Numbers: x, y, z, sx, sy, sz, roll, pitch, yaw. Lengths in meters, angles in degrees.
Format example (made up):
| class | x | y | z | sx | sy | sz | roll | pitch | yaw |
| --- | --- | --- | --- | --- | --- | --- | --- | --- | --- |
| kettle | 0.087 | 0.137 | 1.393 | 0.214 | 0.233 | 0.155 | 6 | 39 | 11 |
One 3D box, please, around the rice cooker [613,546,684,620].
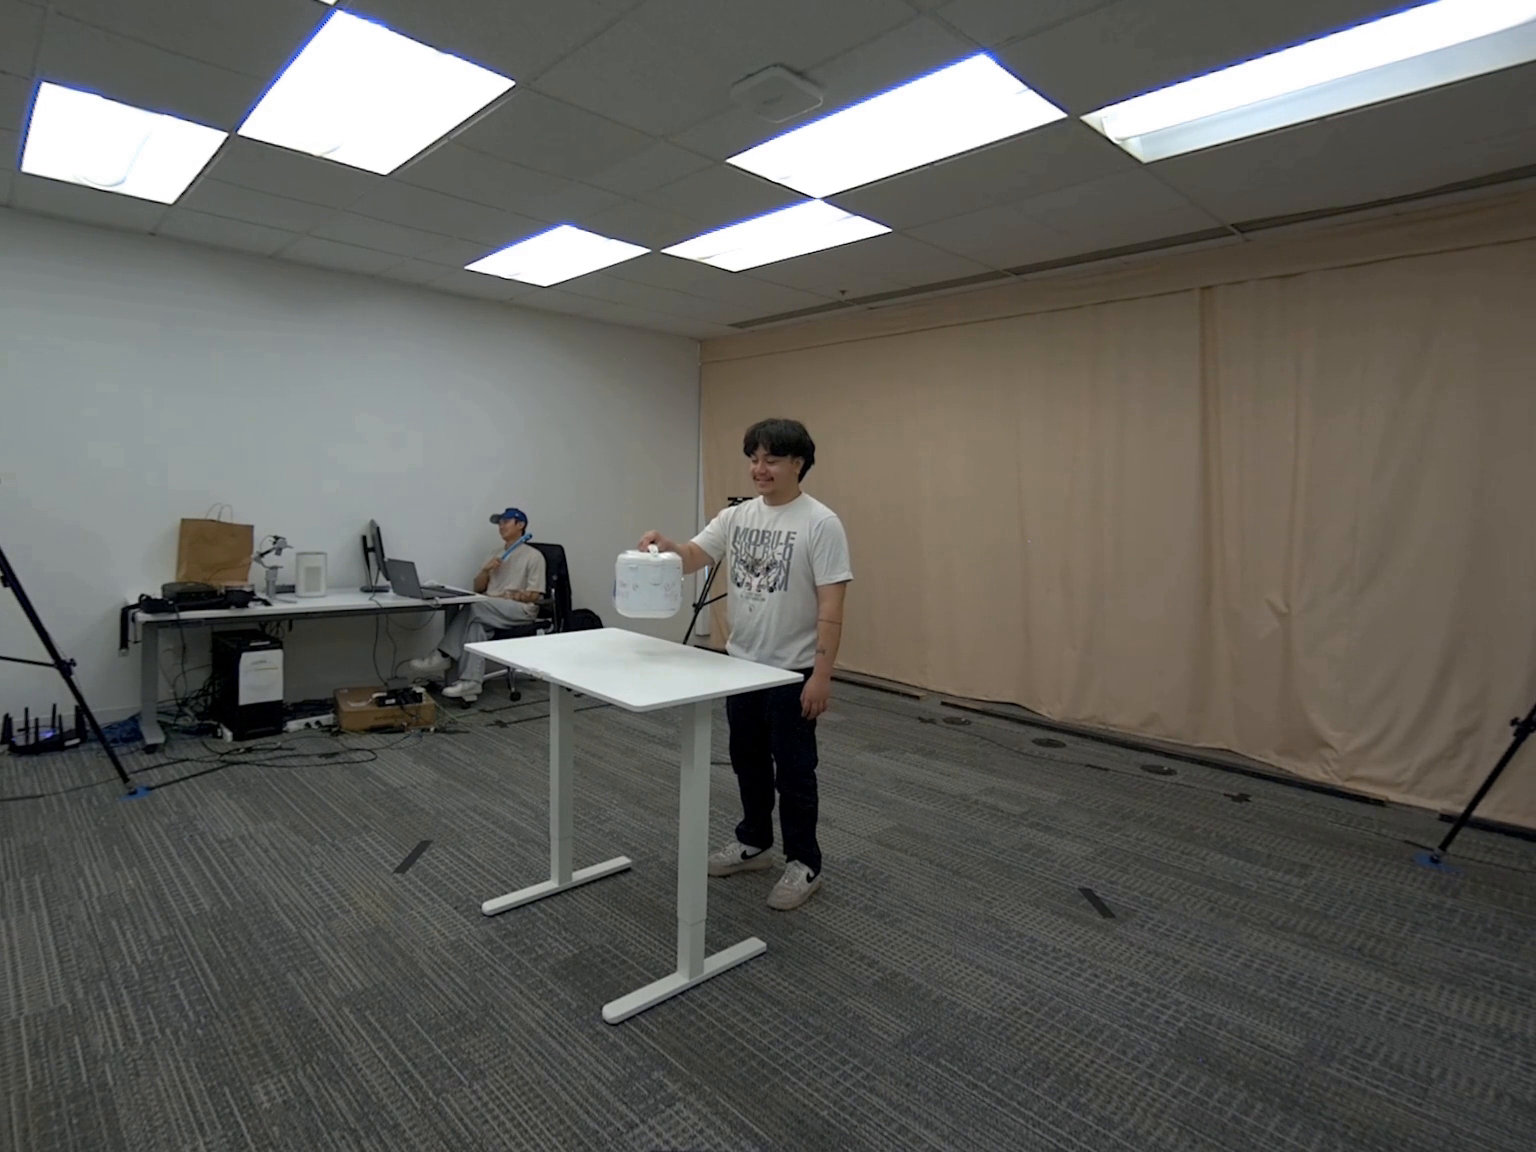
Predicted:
| class | x | y | z | sx | sy | sz | roll | pitch | yaw |
| --- | --- | --- | --- | --- | --- | --- | --- | --- | --- |
| rice cooker | -0.390 | 0.014 | 2.710 | 0.215 | 0.232 | 0.223 | 1 | 3 | -15 |
